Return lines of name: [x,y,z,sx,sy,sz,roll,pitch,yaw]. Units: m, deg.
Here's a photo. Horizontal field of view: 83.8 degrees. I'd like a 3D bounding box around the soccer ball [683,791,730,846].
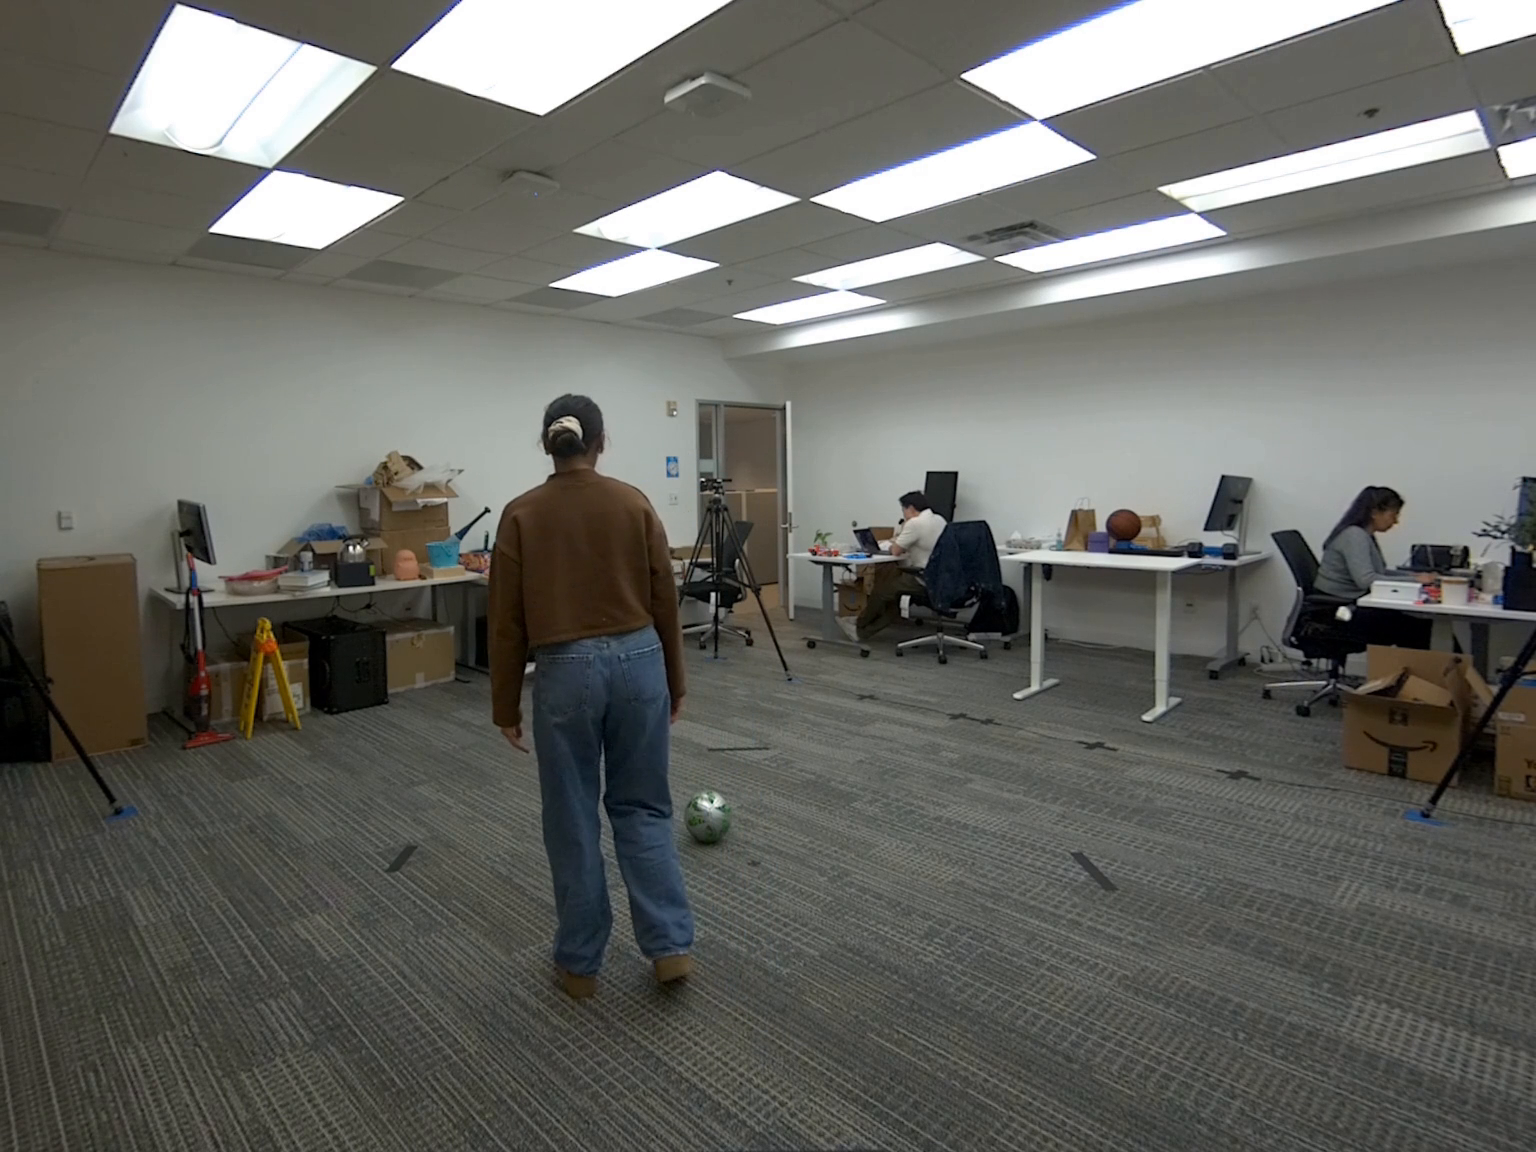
soccer ball: [-0.231,0.927,3.307,0.187,0.187,0.188,-1,5,-2]
